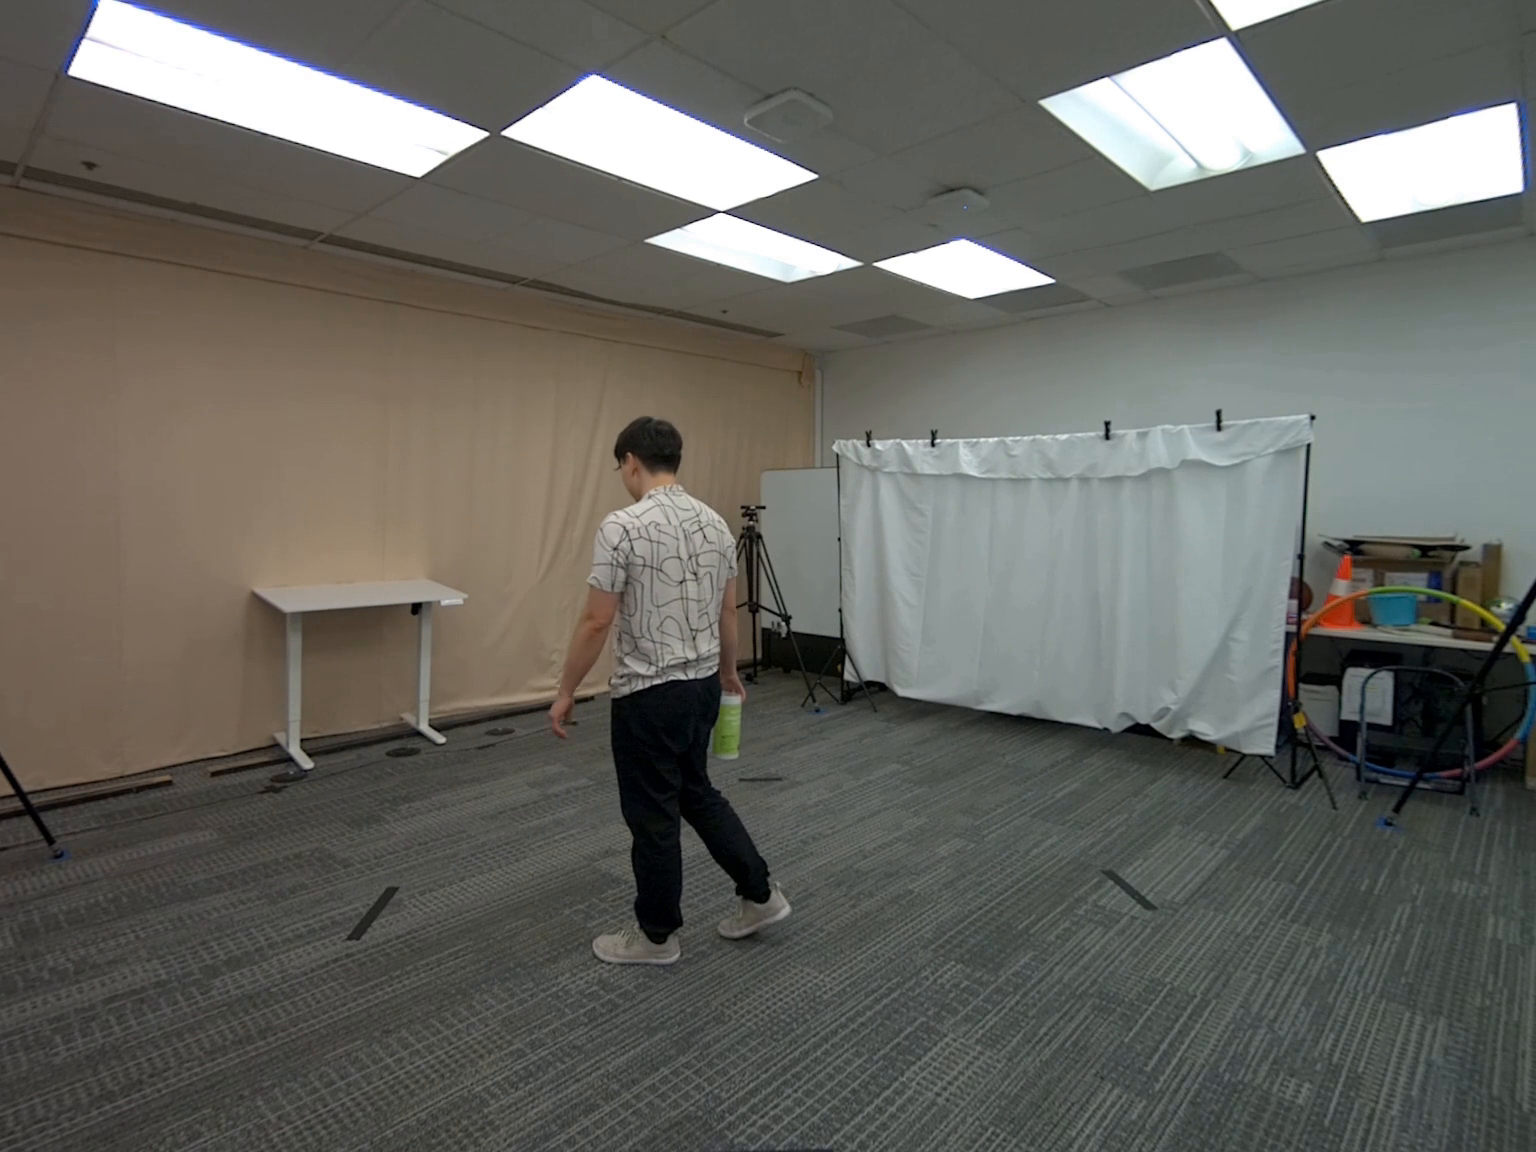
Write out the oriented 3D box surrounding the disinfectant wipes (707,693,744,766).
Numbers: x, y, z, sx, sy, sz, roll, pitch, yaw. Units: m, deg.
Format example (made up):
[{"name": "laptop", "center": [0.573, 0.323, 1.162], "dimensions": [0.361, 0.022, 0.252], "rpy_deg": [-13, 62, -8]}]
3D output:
[{"name": "disinfectant wipes", "center": [-0.153, 0.513, 2.864], "dimensions": [0.117, 0.217, 0.118], "rpy_deg": [3, 2, -2]}]
